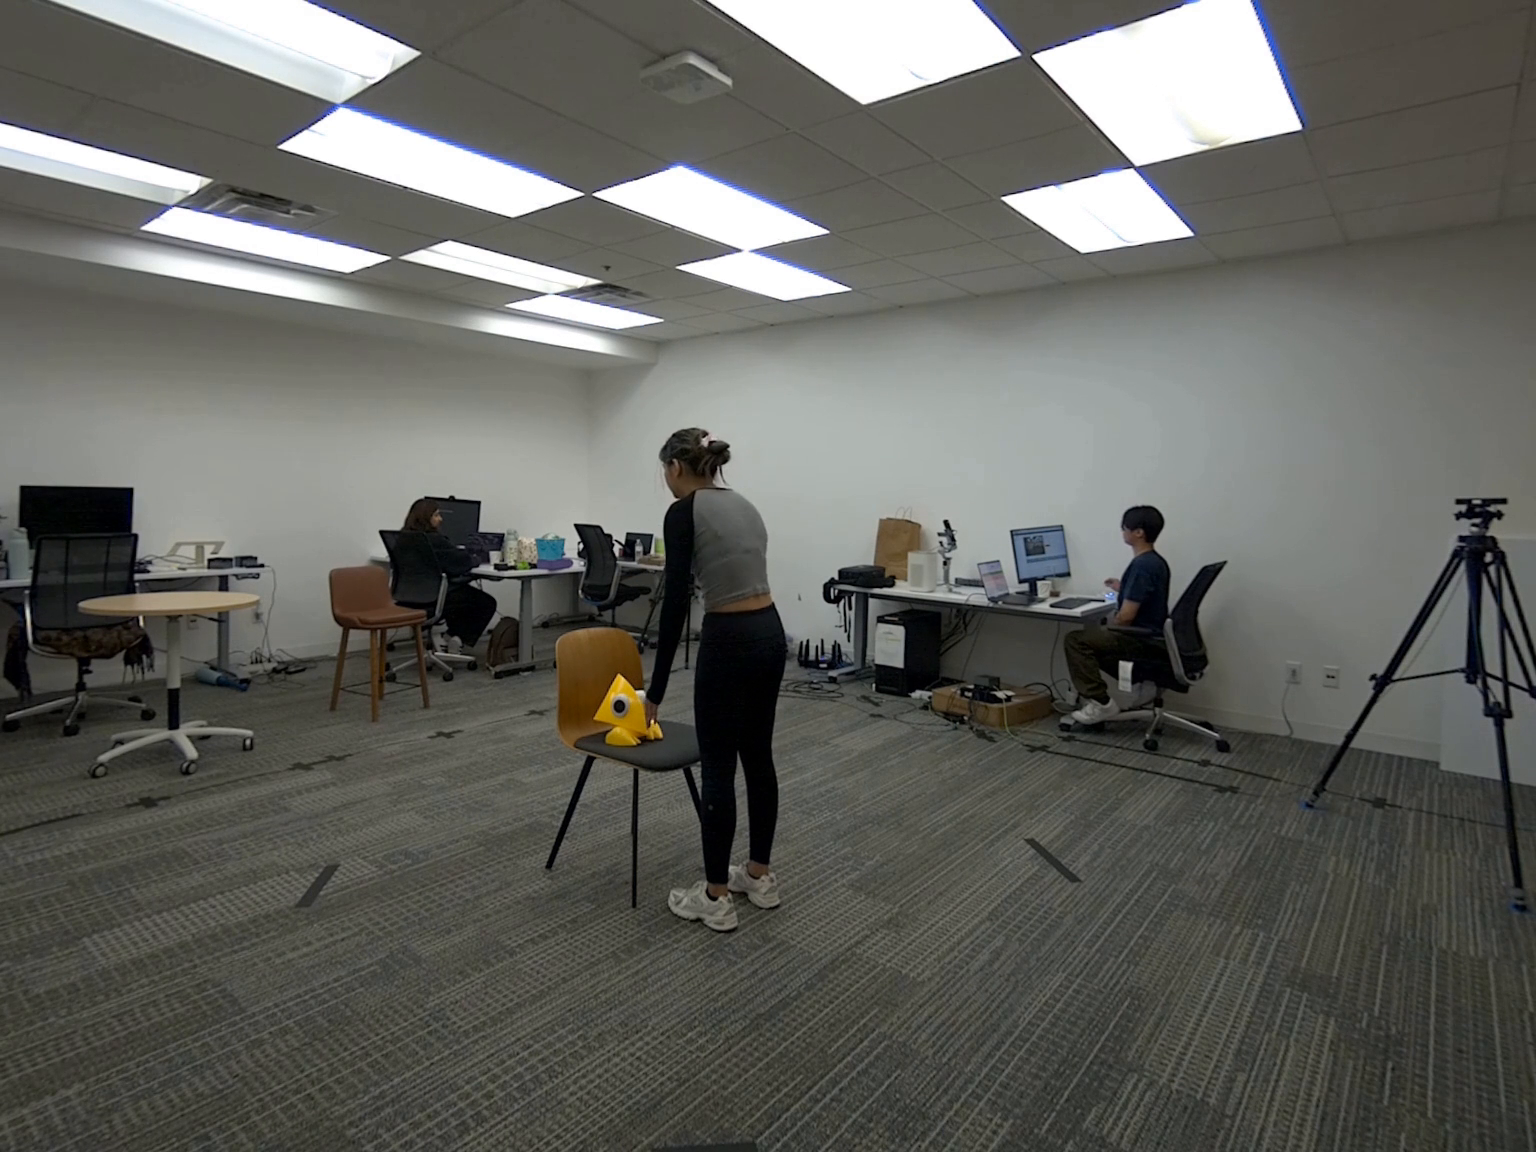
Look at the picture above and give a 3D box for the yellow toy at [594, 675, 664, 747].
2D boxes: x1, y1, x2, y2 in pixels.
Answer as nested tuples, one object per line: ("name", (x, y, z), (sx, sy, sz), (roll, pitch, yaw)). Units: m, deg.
("yellow toy", (-0.509, 0.481, 3.087), (0.199, 0.231, 0.198), (-2, 0, 42))
